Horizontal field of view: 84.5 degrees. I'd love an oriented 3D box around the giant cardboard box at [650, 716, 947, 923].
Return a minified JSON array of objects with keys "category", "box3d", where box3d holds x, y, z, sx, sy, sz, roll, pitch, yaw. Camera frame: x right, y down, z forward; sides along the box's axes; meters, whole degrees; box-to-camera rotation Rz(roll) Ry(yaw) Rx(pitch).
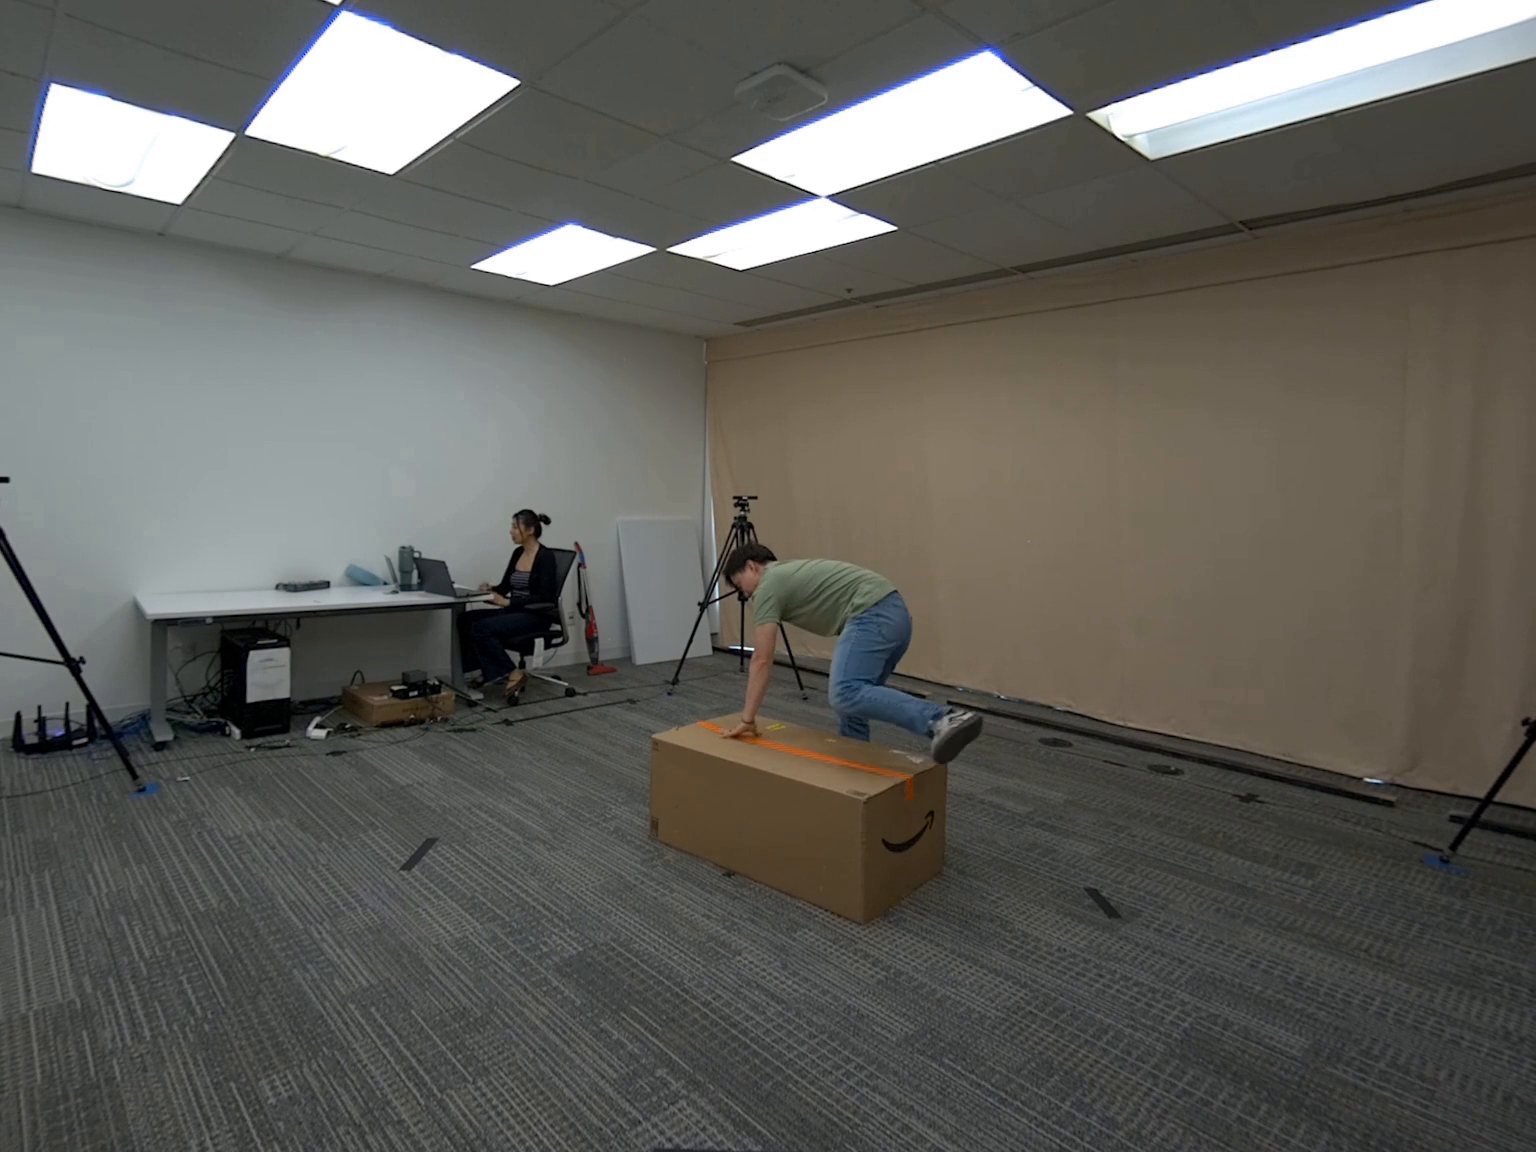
[{"category":"giant cardboard box","box3d":[0.088,0.882,3.286,1.051,0.425,0.564,5,5,40]}]
